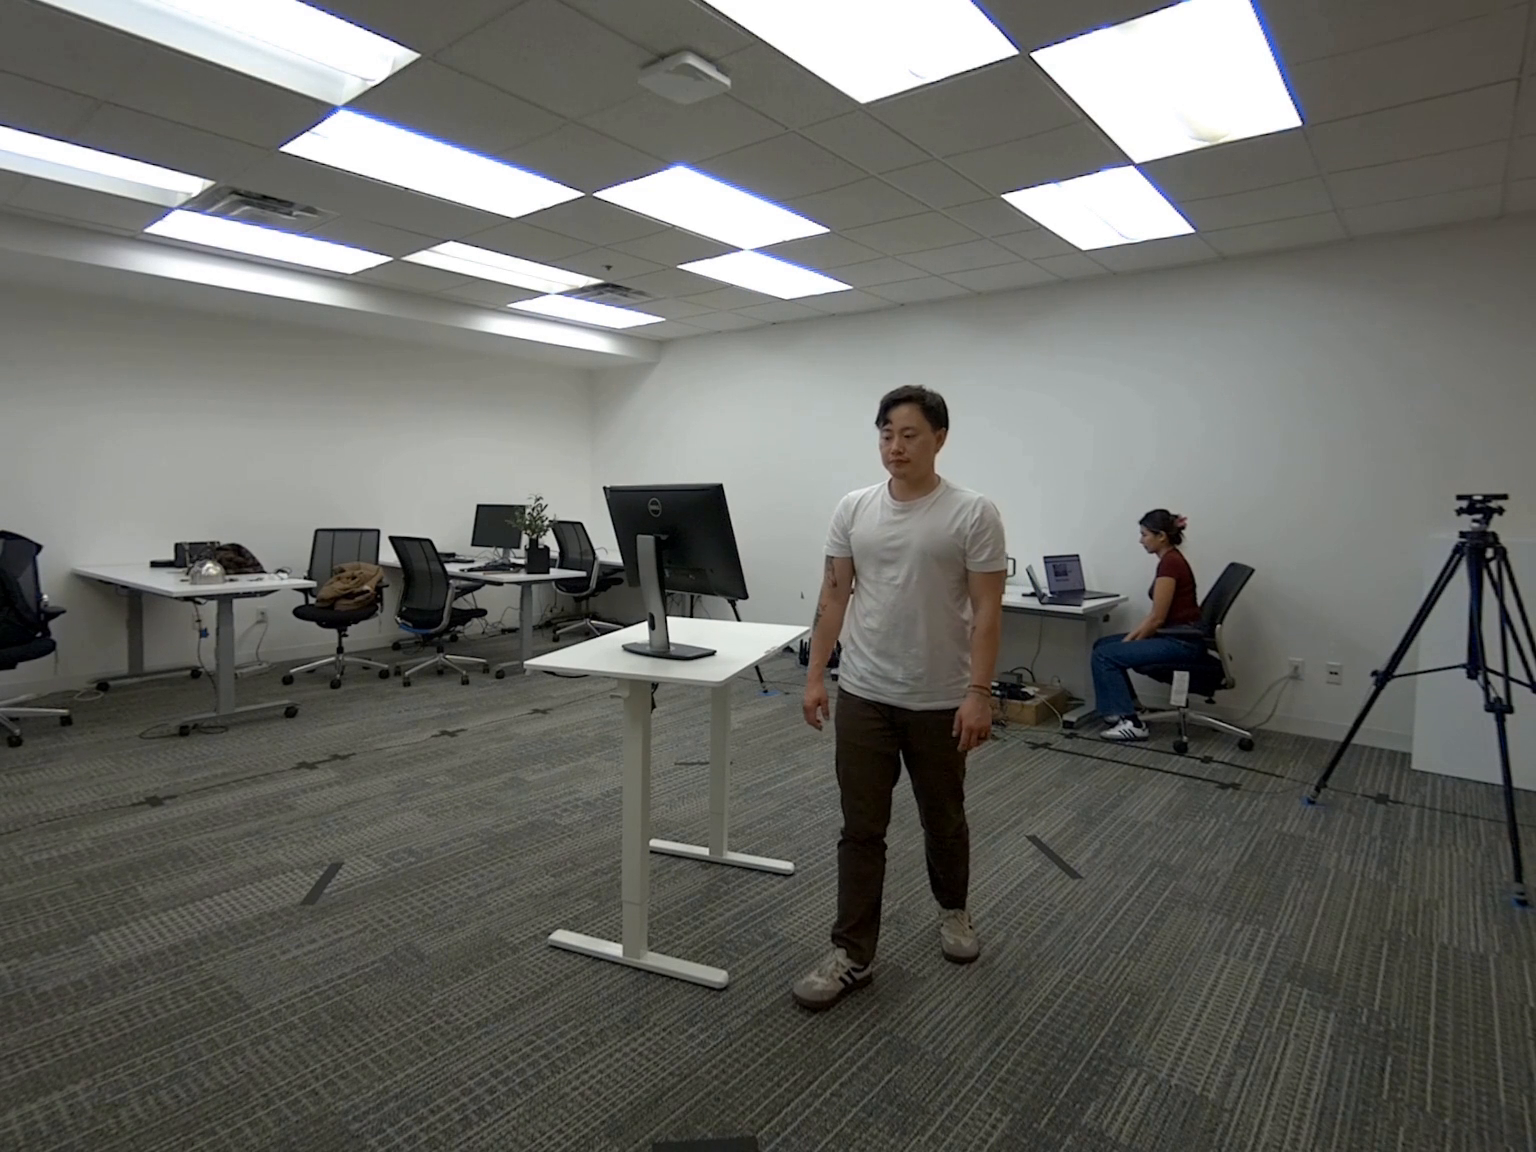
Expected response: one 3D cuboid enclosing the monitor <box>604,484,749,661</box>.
[{"bbox_3d":[-0.327,-0.018,2.587,0.557,0.519,0.182,4,8,41],"label":"monitor"}]
